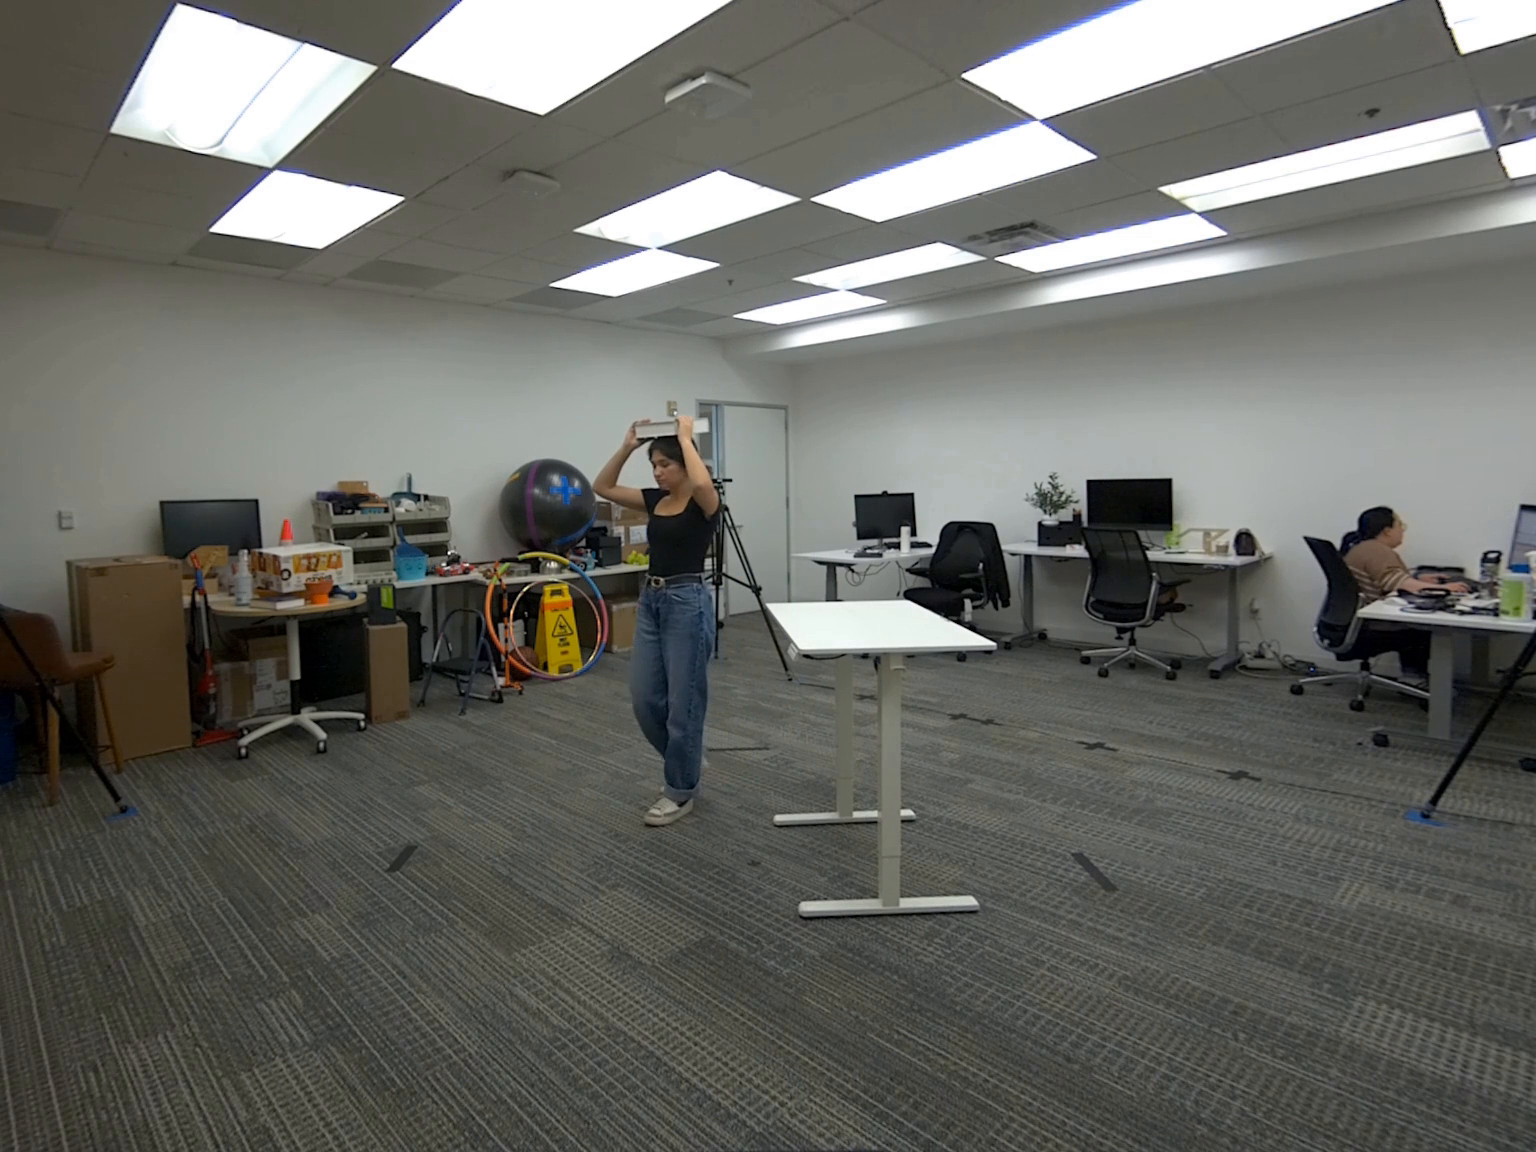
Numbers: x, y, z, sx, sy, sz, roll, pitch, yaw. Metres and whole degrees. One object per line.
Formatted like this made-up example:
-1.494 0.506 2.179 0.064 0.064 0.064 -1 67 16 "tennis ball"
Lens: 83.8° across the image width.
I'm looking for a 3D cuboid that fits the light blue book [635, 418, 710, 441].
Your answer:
-0.391 -0.609 3.518 0.269 0.058 0.187 3 11 42 "light blue book"
